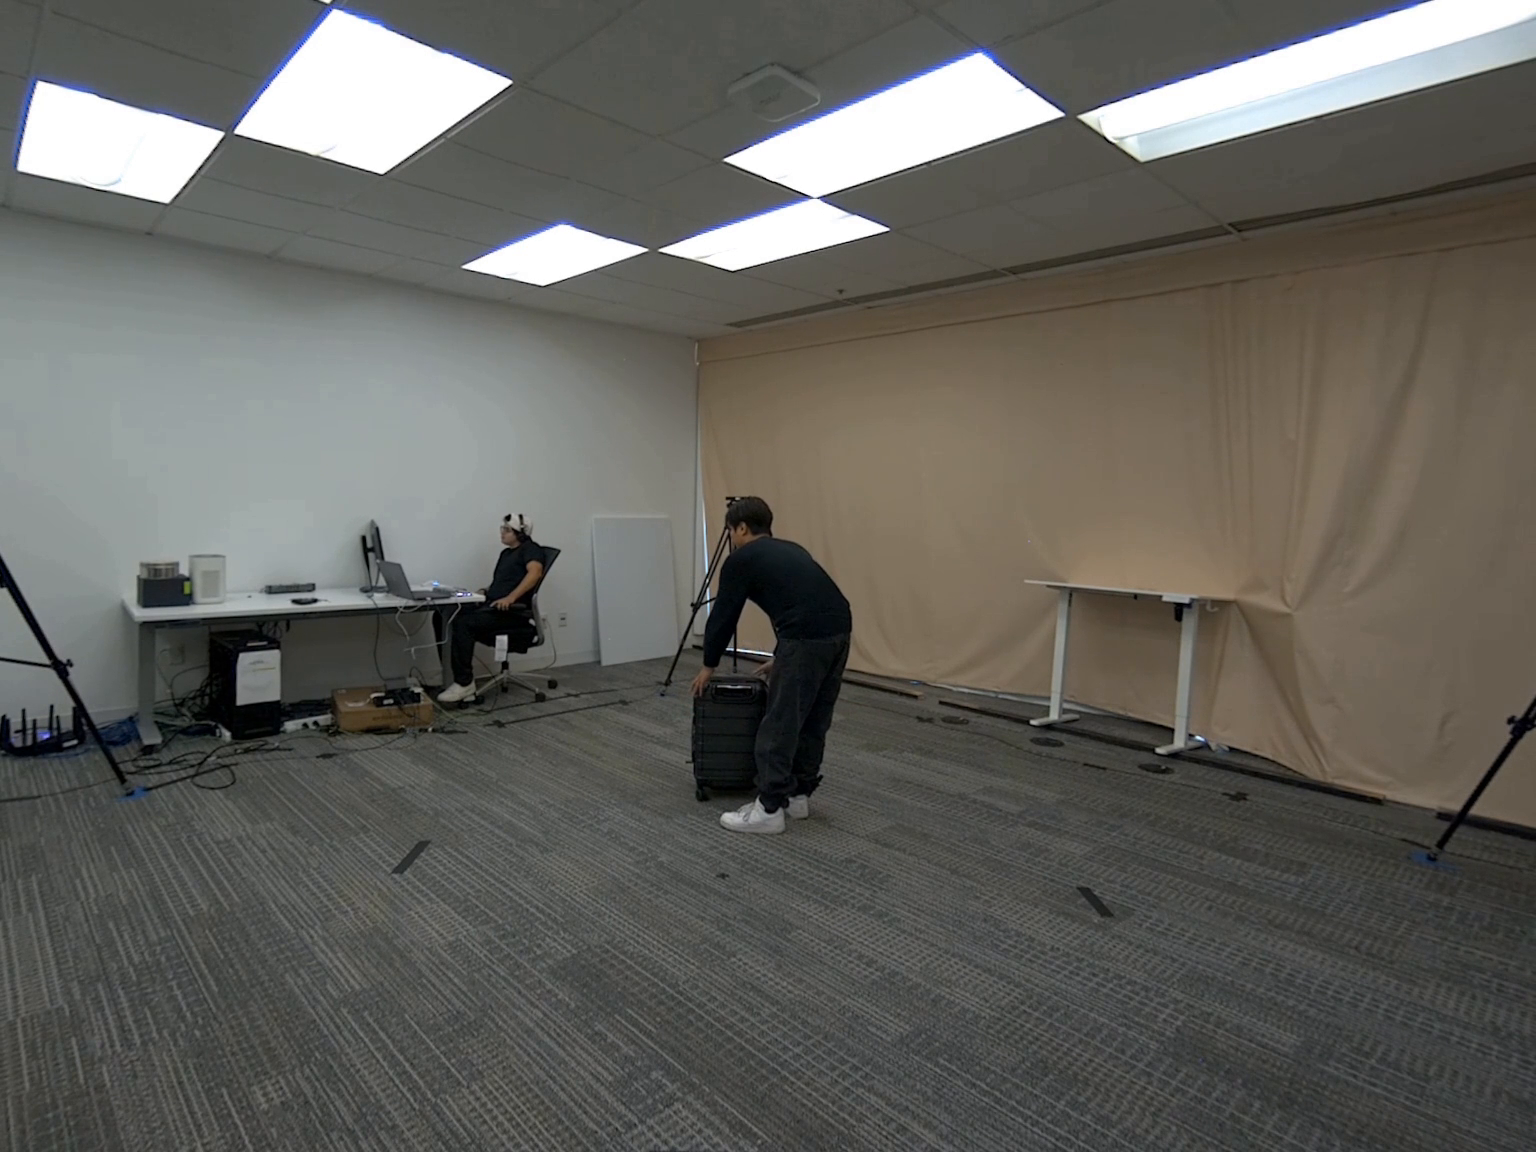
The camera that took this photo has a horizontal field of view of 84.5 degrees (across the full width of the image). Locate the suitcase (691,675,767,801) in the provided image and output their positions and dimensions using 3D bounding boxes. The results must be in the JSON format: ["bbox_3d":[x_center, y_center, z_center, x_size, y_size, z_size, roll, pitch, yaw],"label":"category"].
[{"bbox_3d":[-0.189,0.750,4.015,0.375,0.548,0.249,2,3,-2],"label":"suitcase"}]
